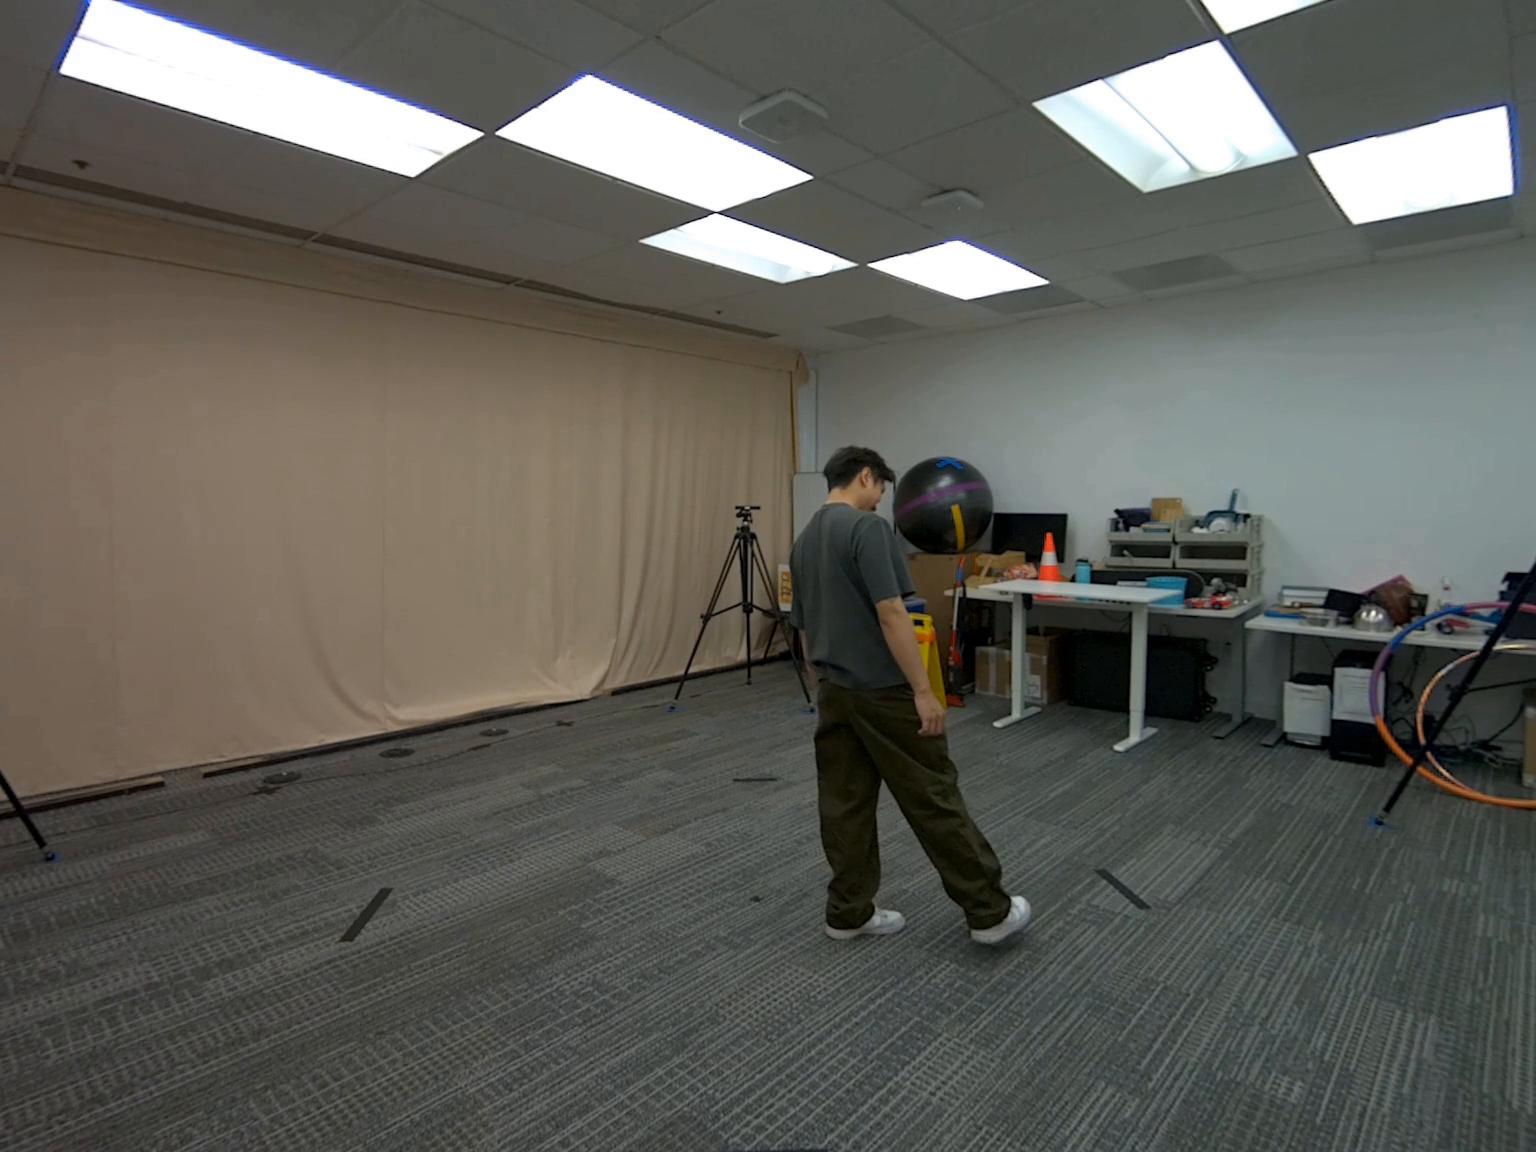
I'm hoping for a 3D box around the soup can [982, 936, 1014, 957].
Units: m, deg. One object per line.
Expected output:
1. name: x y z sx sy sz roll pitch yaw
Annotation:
1. soup can: 0.717 1.141 2.693 0.066 0.067 0.123 -1 5 -9
